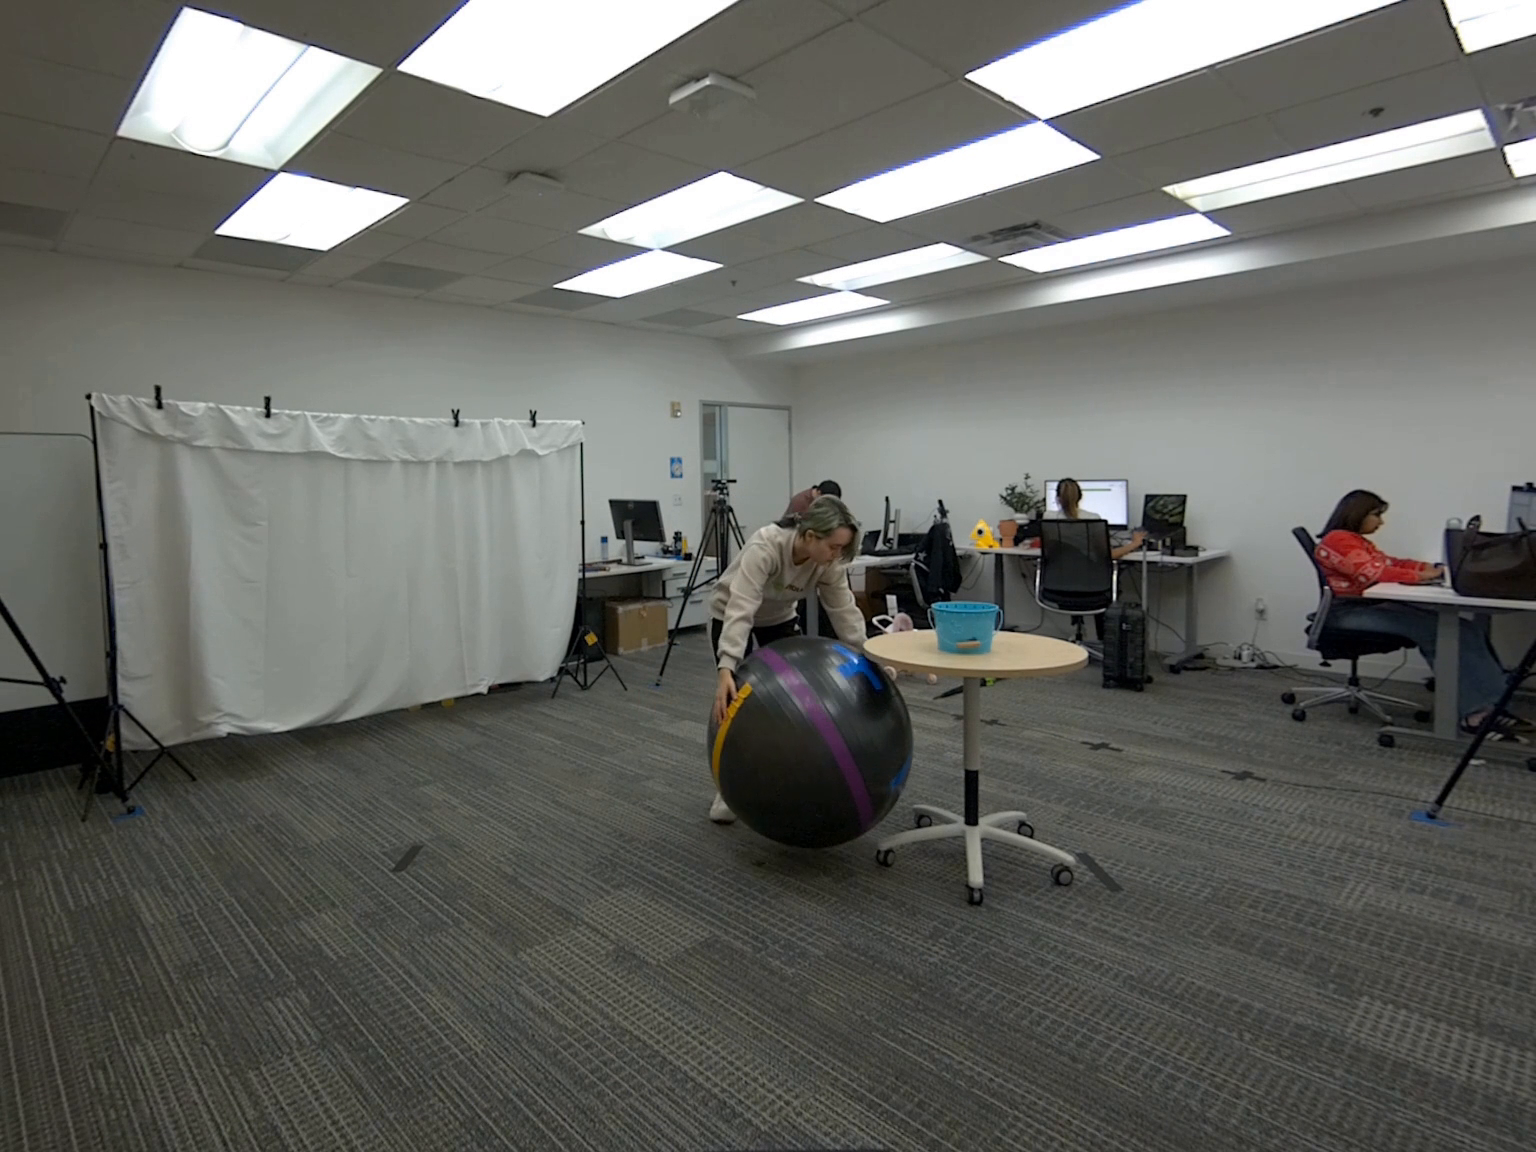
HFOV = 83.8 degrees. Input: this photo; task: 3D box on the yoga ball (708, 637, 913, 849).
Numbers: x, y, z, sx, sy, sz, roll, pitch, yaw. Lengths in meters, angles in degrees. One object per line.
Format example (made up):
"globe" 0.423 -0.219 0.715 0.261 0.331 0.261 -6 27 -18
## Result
"yoga ball" 0.144 0.611 3.154 0.757 0.755 0.762 -1 5 -2
